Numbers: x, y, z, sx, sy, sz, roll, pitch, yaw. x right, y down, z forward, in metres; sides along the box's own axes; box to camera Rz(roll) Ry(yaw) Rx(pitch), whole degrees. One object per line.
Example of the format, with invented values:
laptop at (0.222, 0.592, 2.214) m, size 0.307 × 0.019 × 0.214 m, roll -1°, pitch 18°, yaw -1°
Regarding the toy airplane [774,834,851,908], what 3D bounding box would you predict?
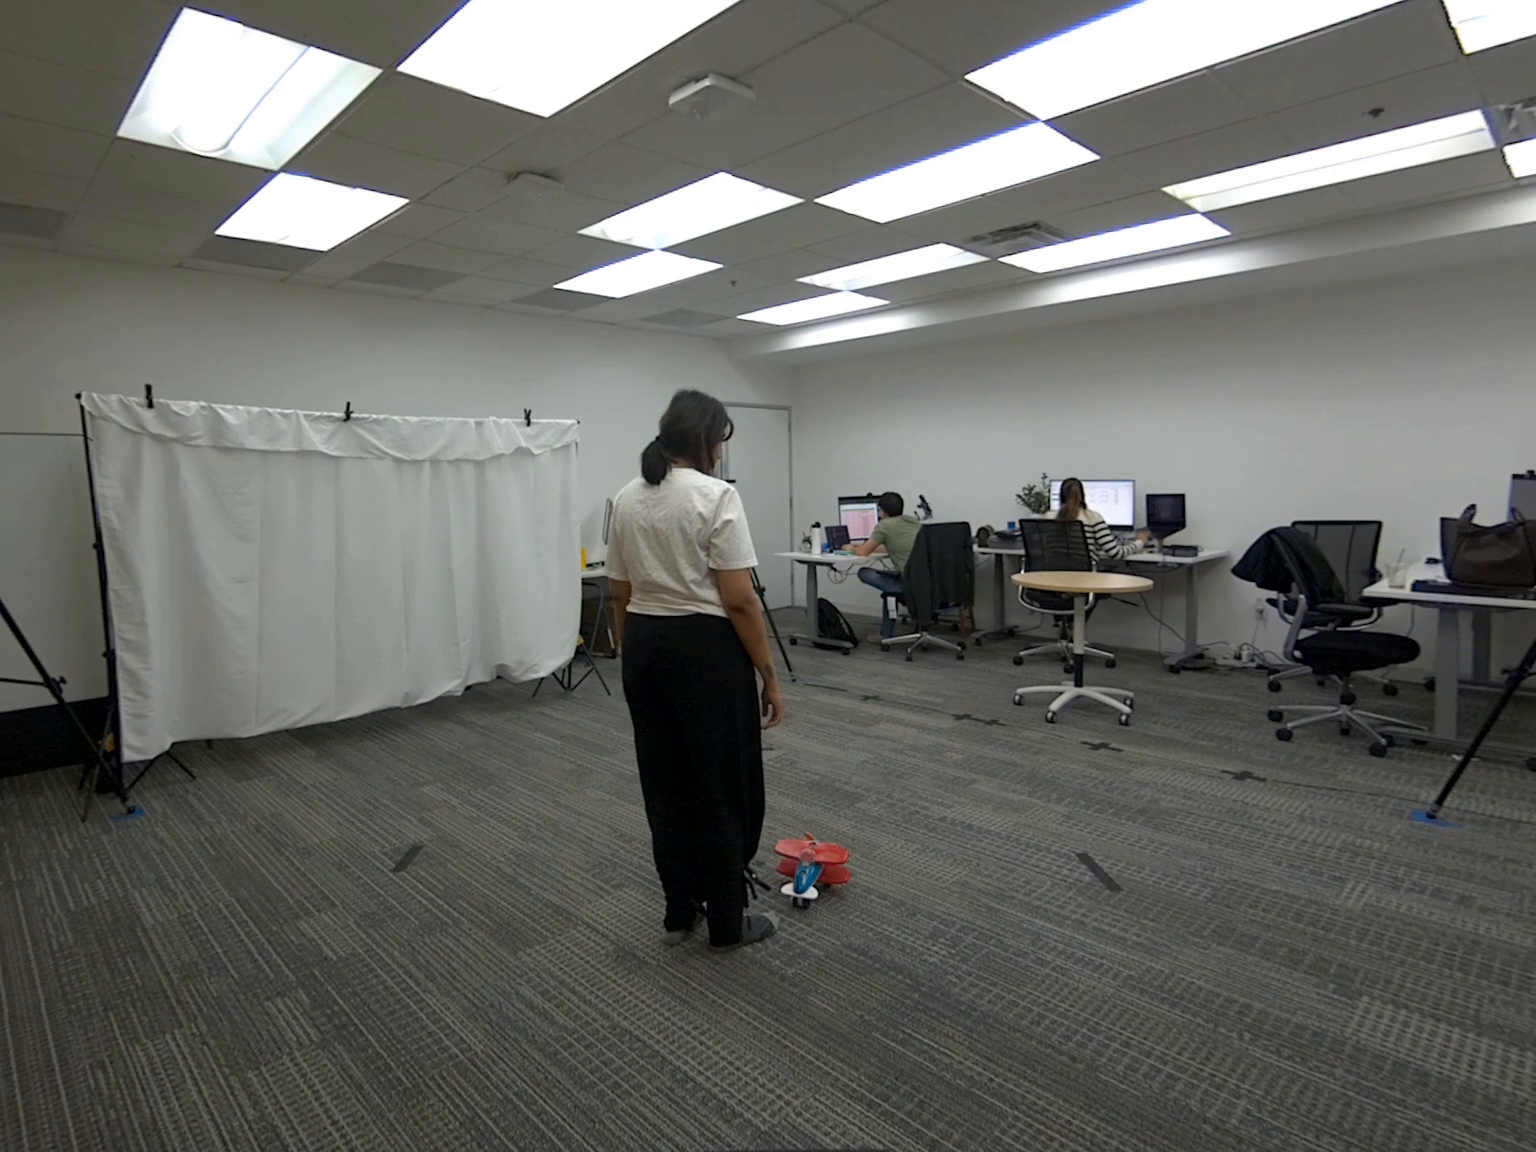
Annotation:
toy airplane at (0.165, 0.993, 2.860) m, size 0.249 × 0.156 × 0.262 m, roll -1°, pitch 5°, yaw -7°
